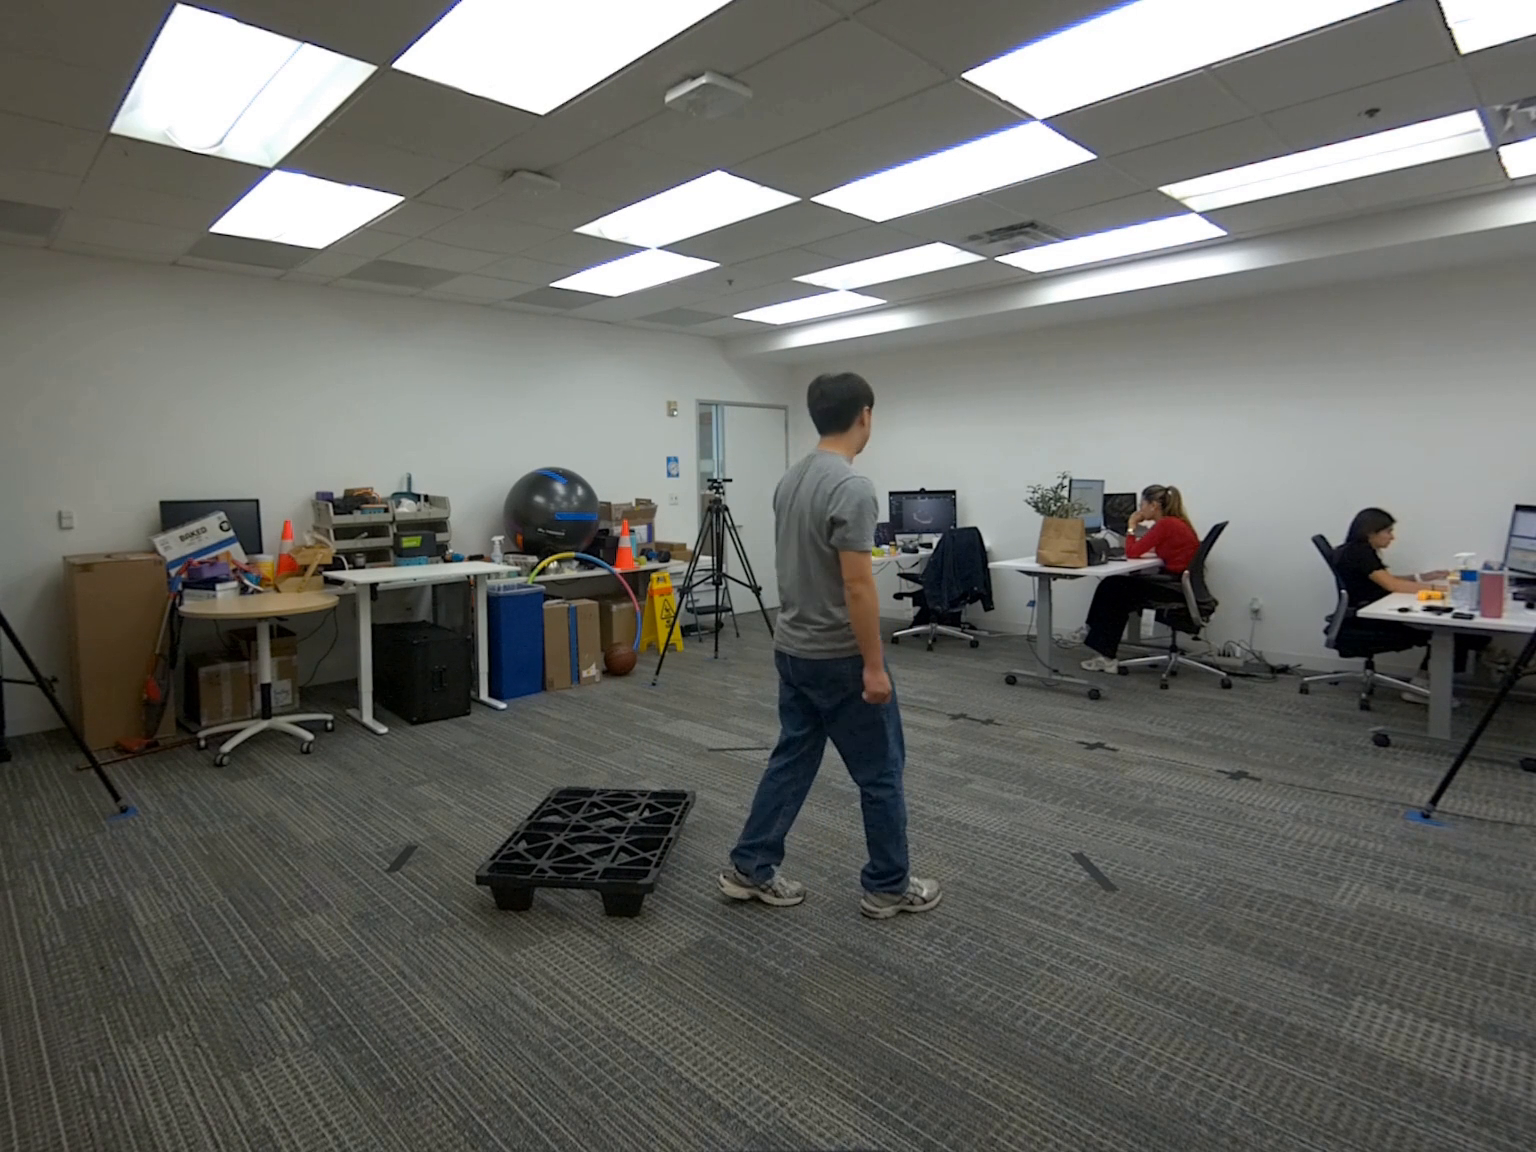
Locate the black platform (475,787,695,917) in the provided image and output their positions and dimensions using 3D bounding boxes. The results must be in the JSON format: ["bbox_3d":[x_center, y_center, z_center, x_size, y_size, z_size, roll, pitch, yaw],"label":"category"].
[{"bbox_3d":[-0.614,0.982,3.128,0.610,0.142,0.803,0,7,7],"label":"black platform"}]
